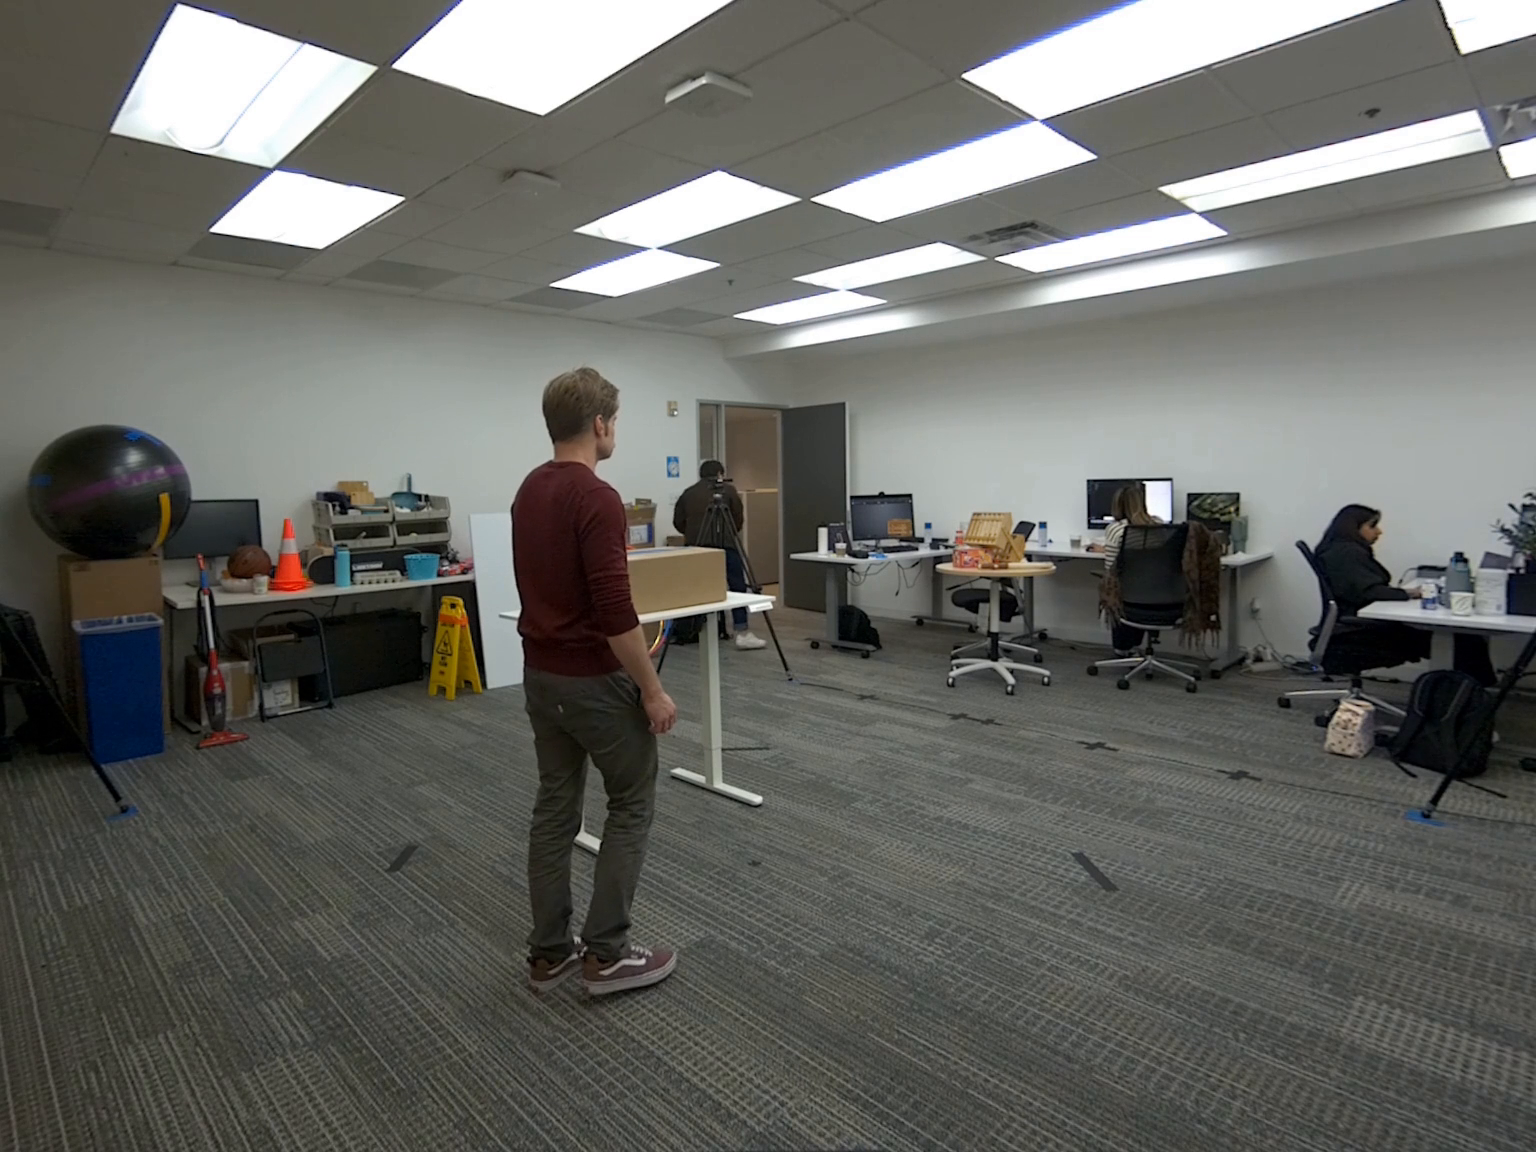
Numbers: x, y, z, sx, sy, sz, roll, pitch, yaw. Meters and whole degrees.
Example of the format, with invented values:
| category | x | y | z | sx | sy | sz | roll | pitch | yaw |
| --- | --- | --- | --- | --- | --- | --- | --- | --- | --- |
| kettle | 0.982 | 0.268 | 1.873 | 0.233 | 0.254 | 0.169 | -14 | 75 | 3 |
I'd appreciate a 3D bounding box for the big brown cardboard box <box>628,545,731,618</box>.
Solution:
| category | x | y | z | sx | sy | sz | roll | pitch | yaw |
| --- | --- | --- | --- | --- | --- | --- | --- | --- | --- |
| big brown cardboard box | -0.519 | 0.013 | 3.556 | 0.573 | 0.232 | 0.430 | -6 | 7 | -44 |
